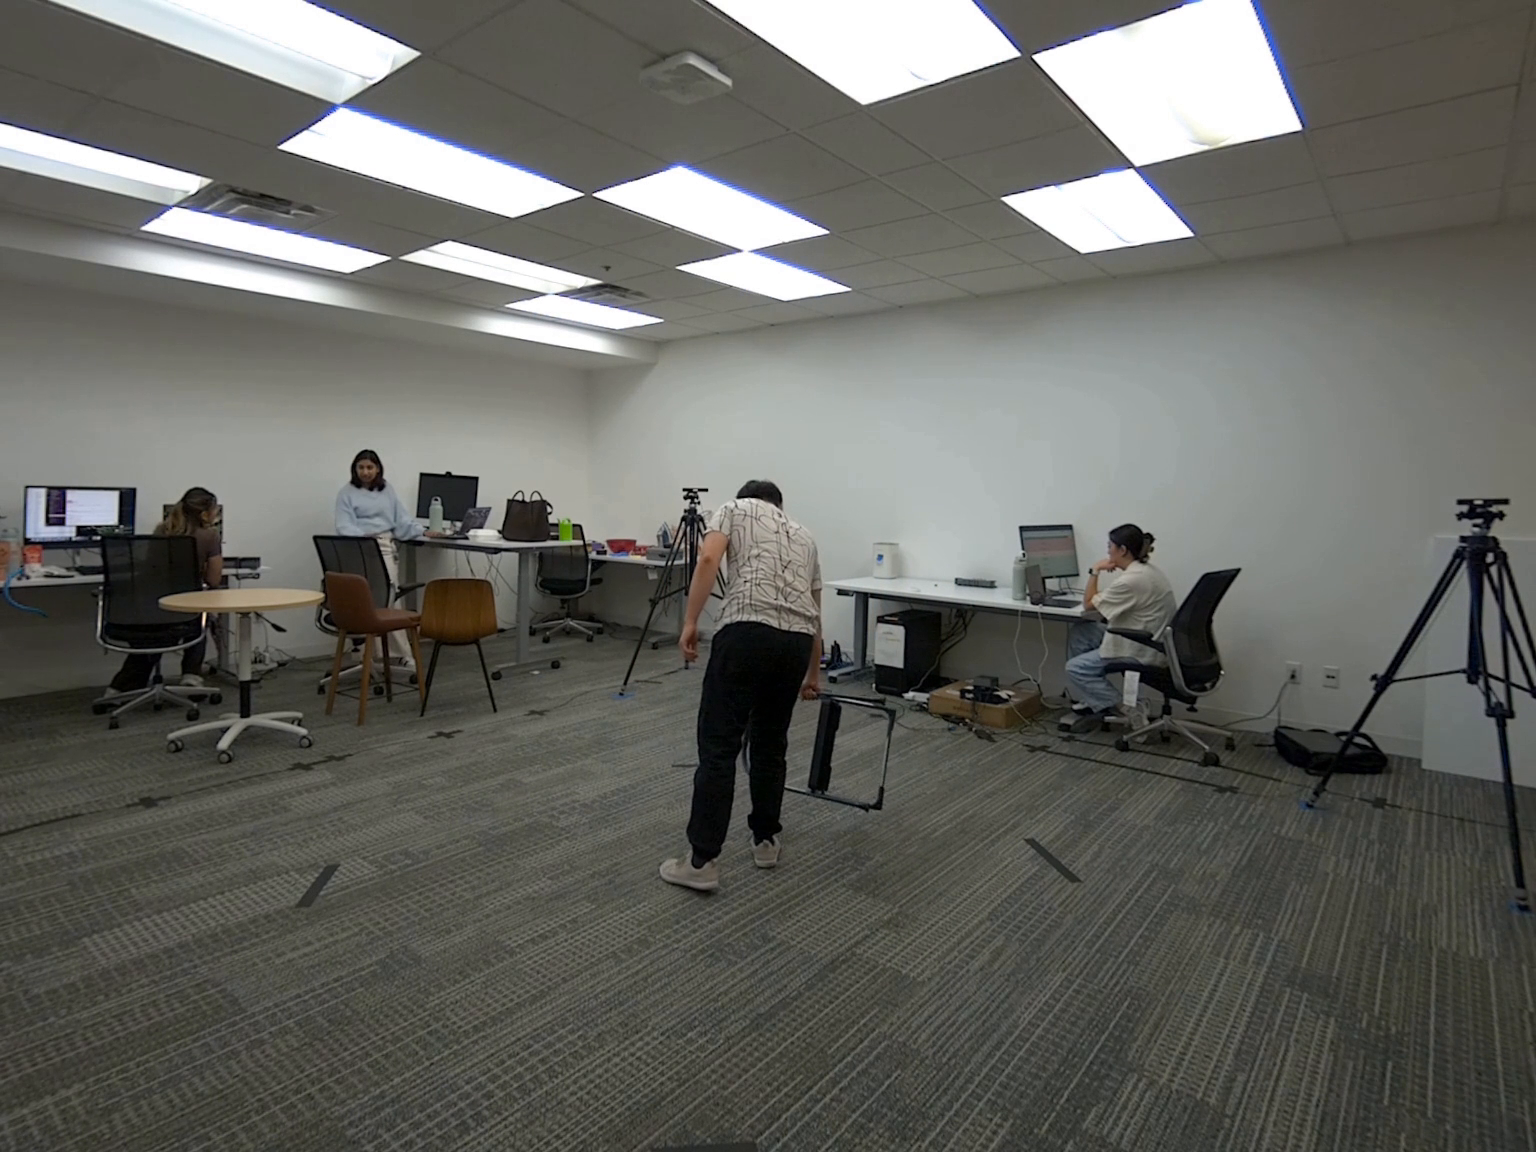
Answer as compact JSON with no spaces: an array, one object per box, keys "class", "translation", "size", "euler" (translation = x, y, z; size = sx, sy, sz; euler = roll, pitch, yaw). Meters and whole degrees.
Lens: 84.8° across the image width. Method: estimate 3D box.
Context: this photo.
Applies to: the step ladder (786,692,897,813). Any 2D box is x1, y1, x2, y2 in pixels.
[{"class":"step ladder","translation":[0.168,0.675,3.469],"size":[0.620,0.435,0.338],"euler":[7,-14,21]}]
